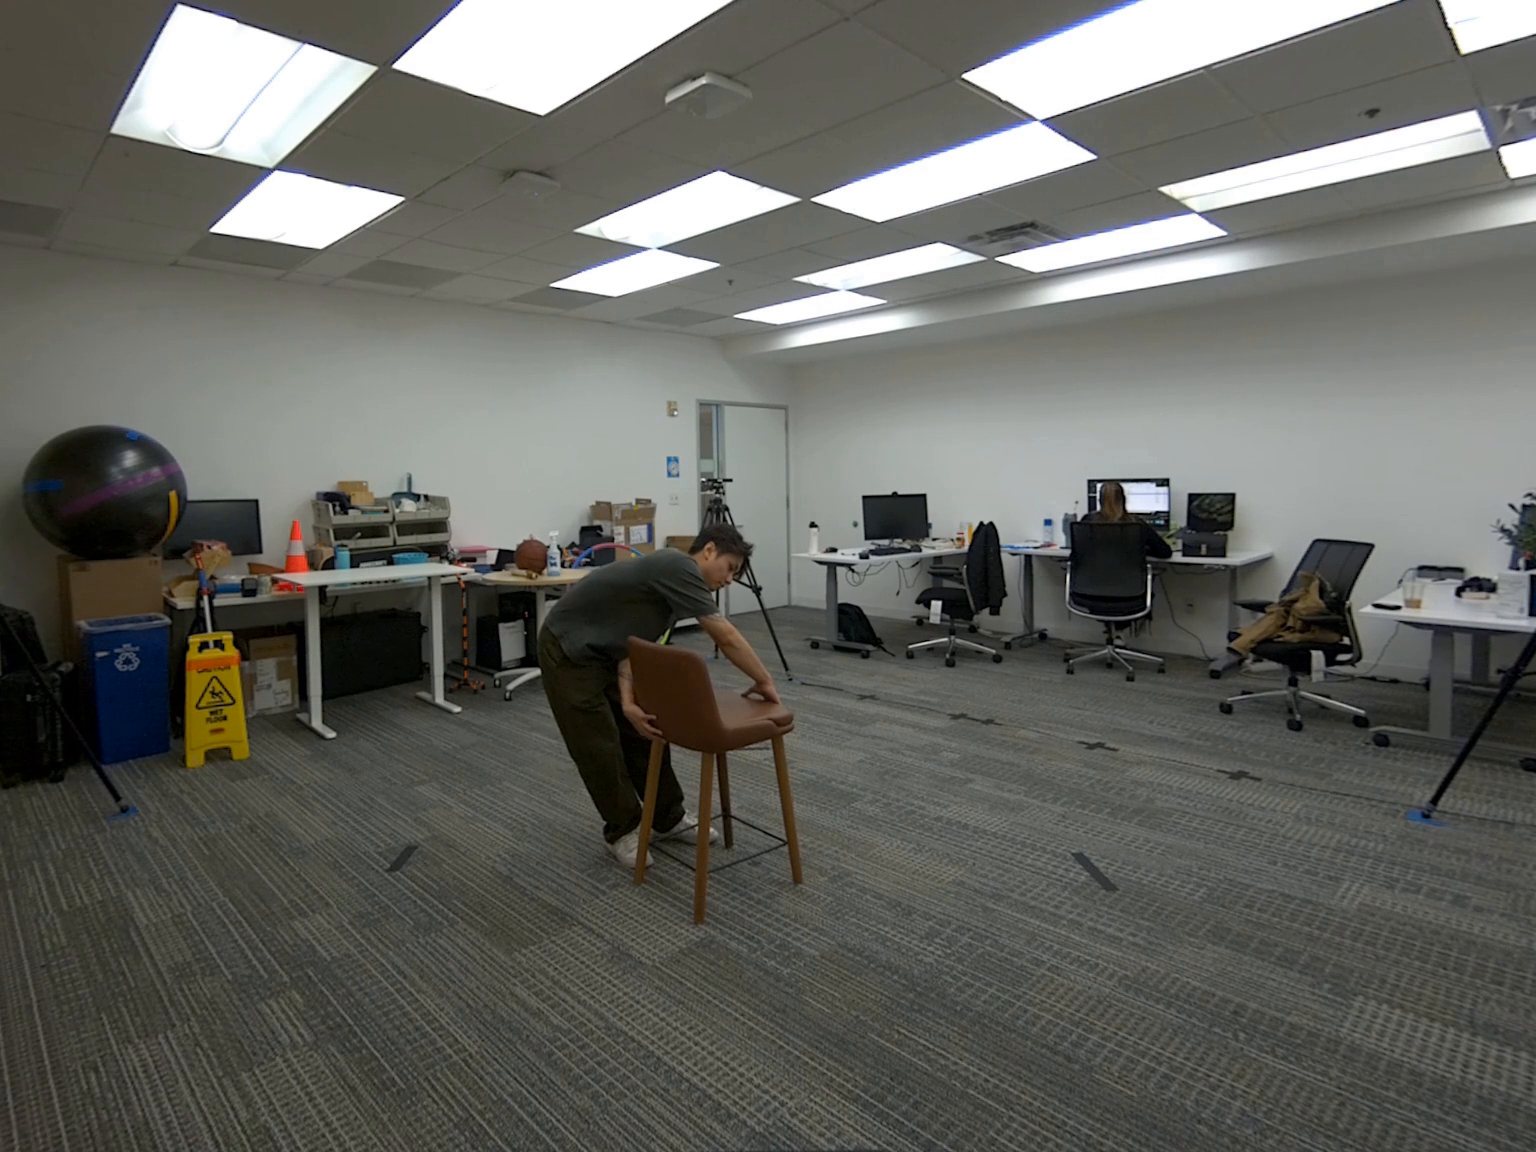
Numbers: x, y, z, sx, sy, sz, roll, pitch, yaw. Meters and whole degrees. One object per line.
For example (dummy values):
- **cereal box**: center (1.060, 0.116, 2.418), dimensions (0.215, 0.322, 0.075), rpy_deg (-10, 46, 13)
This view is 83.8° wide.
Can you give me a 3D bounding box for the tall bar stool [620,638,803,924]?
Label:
- **tall bar stool**: center (-0.182, 0.630, 2.934), dimensions (0.456, 0.886, 0.470), rpy_deg (-6, 6, -40)
